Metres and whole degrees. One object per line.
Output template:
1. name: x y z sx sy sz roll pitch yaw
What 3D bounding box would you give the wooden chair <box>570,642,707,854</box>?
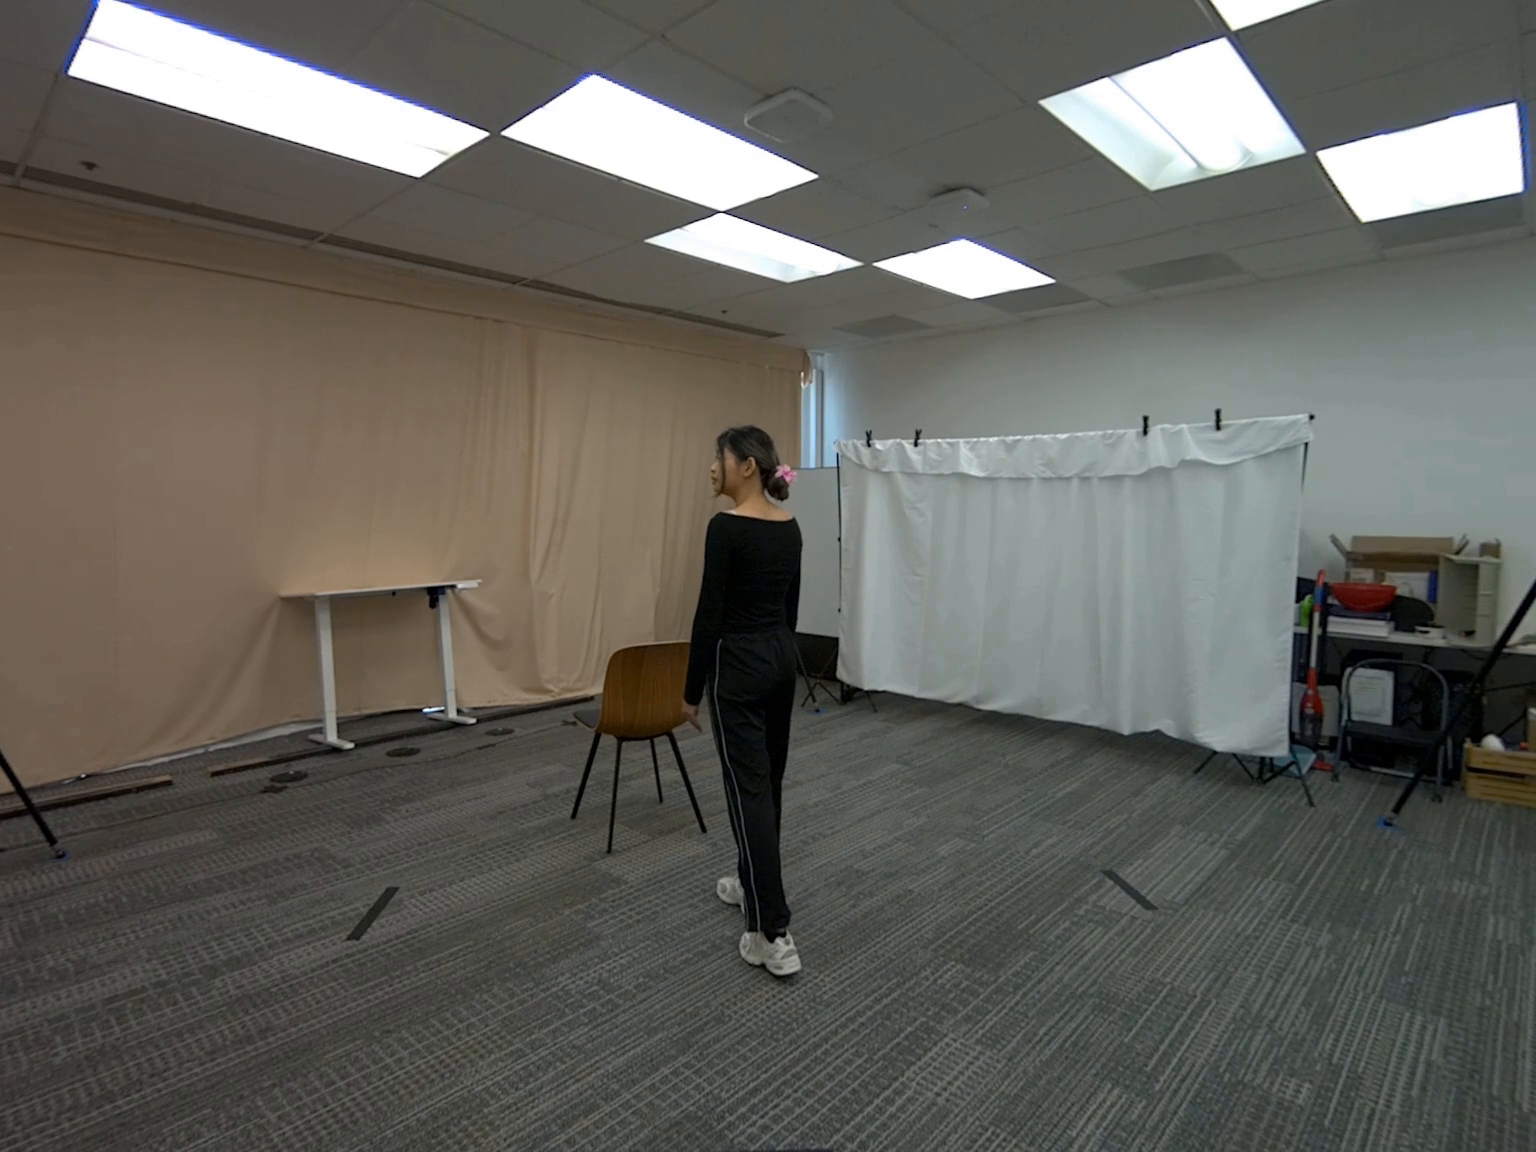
1. wooden chair: -0.580 0.663 3.657 0.465 0.873 0.539 -3 8 -30
